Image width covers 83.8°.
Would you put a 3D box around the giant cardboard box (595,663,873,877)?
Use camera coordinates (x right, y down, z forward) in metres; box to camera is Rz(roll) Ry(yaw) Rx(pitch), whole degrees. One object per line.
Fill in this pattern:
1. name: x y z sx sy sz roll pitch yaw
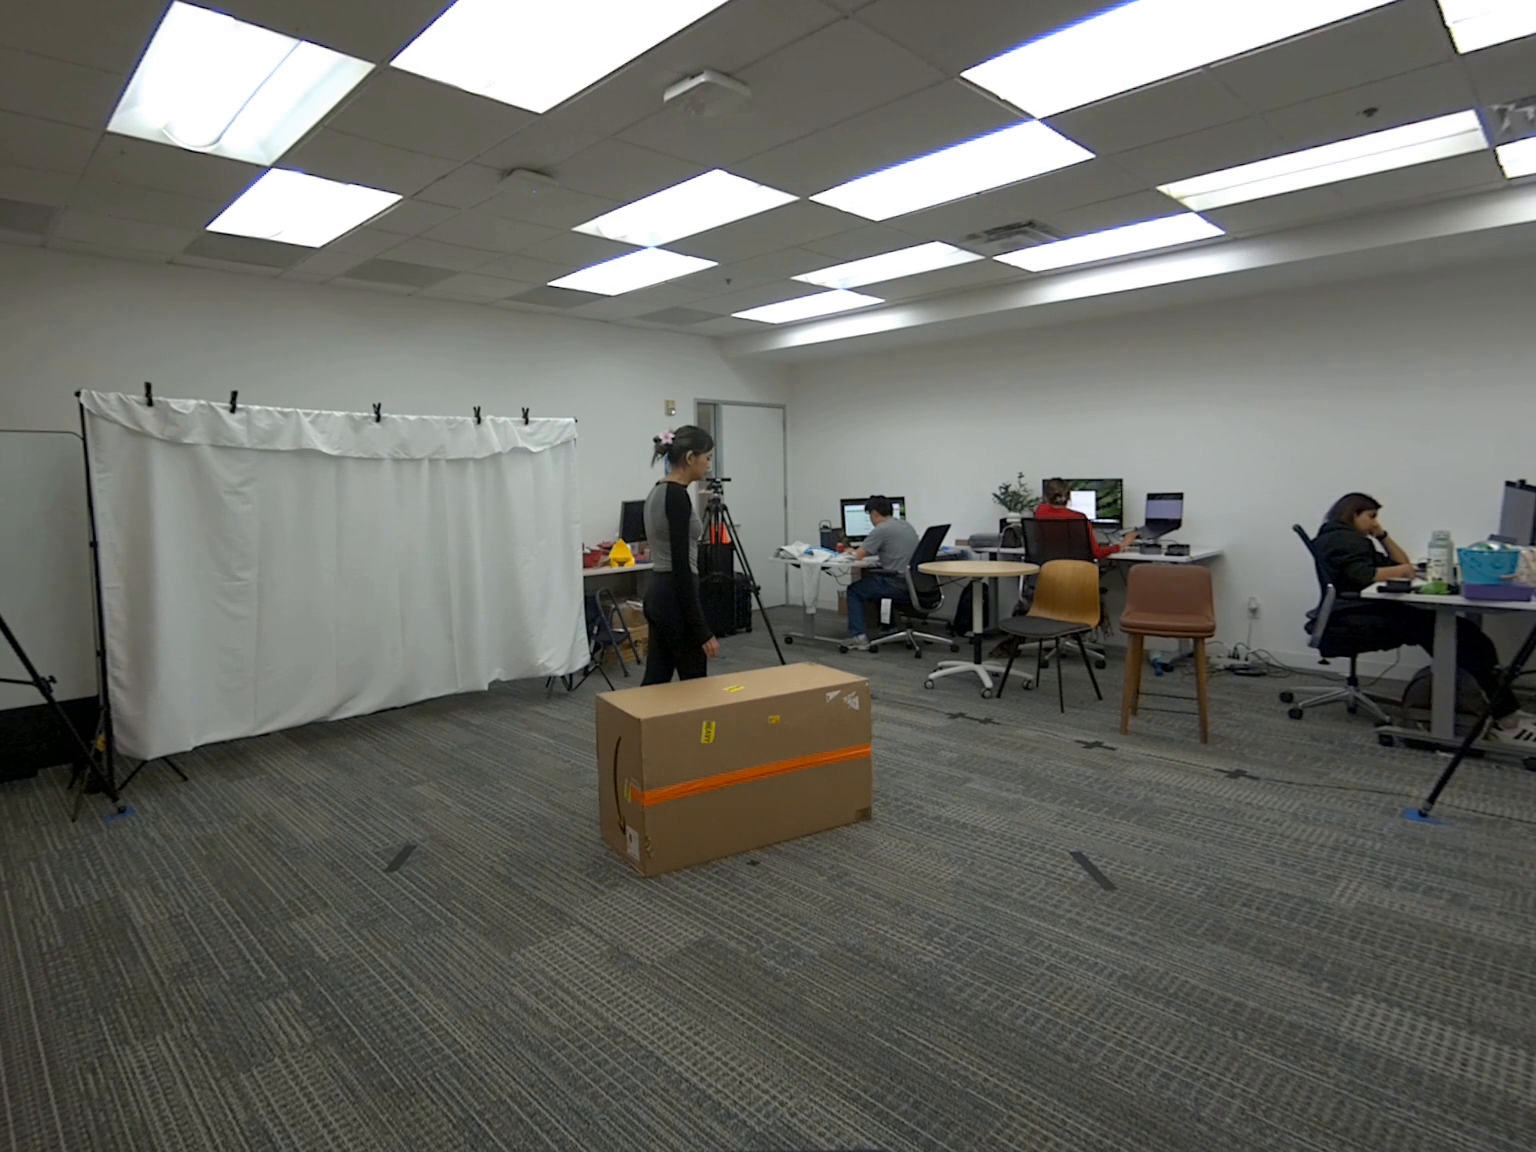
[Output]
1. giant cardboard box: -0.121 0.722 3.398 1.002 0.575 0.438 -5 5 -30
